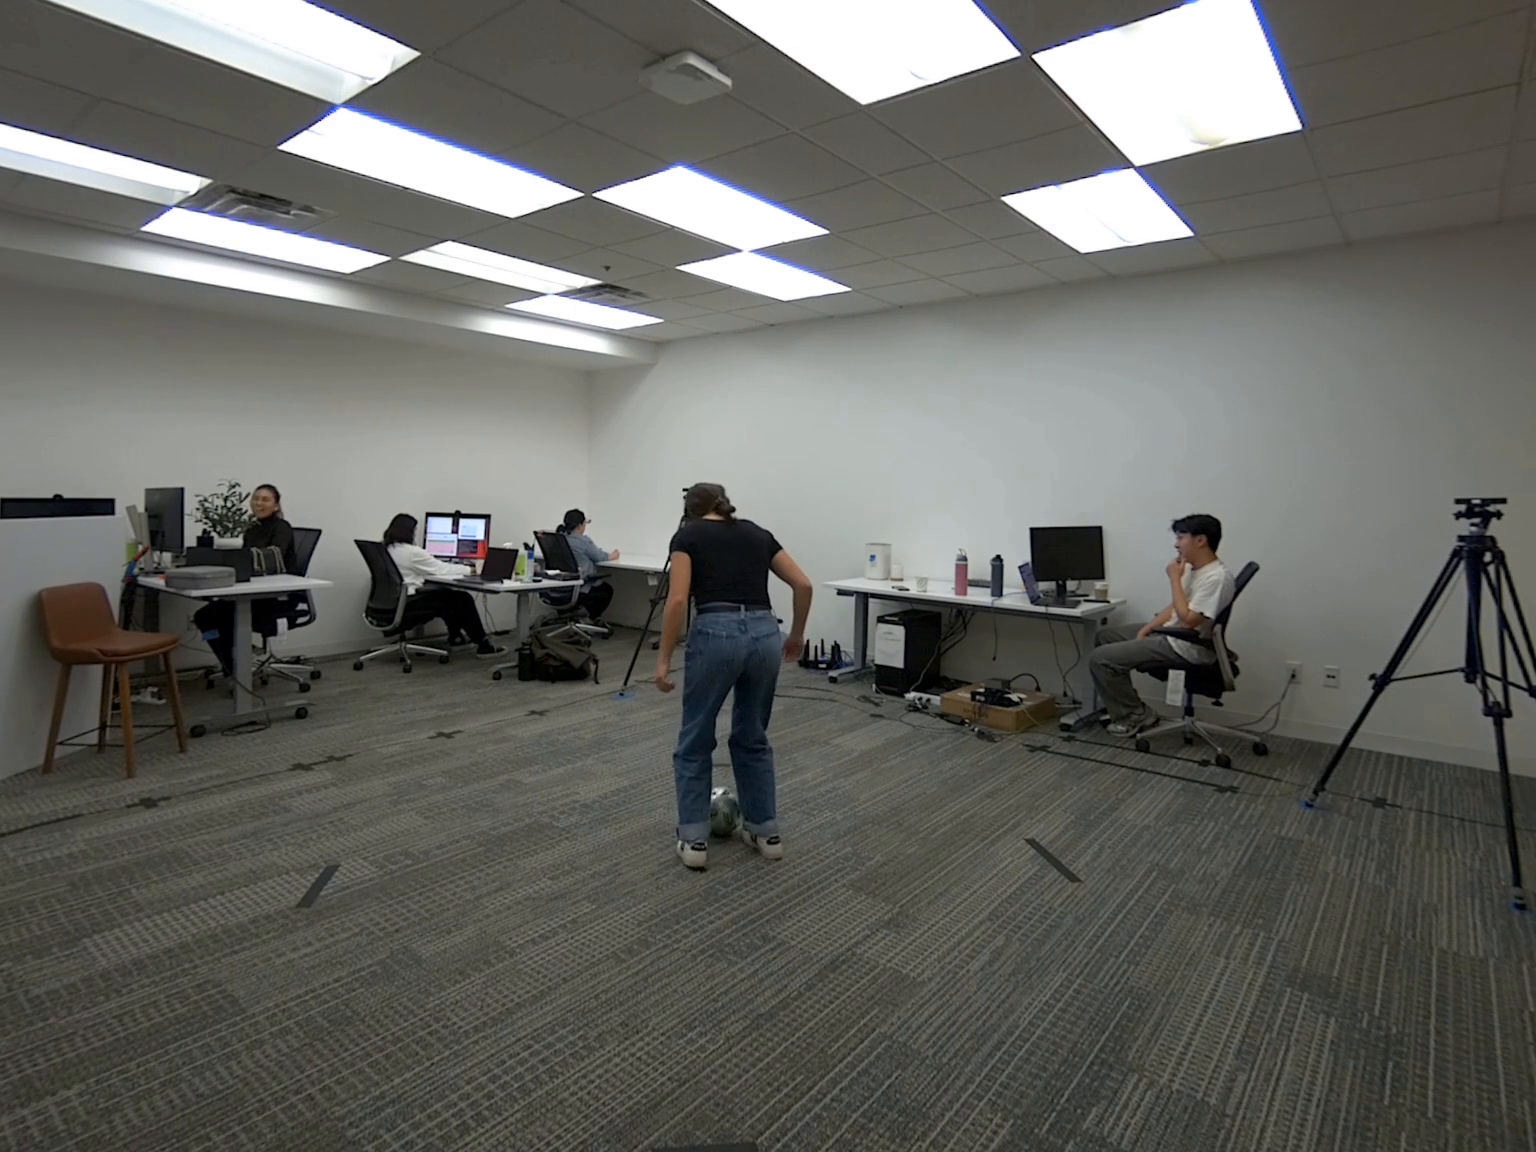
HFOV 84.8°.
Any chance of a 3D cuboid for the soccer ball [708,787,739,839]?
[{"bbox_3d":[-0.192,0.941,3.433,0.187,0.187,0.188,1,4,-2],"label":"soccer ball"}]
